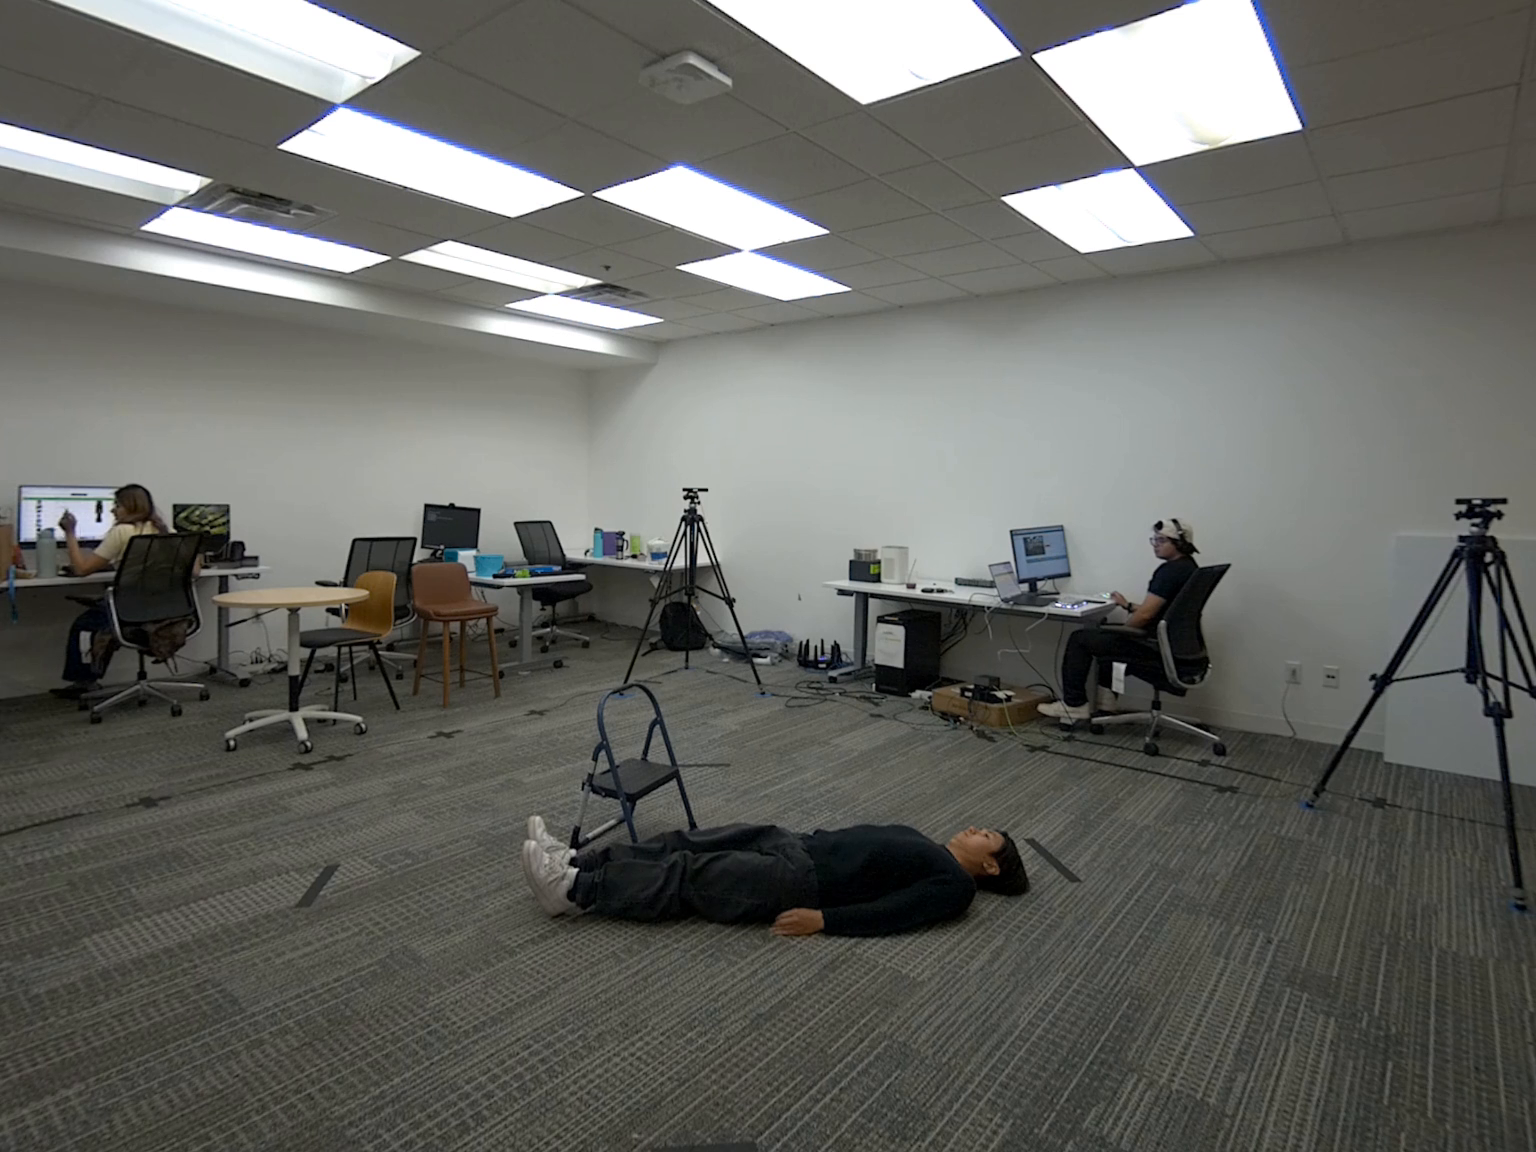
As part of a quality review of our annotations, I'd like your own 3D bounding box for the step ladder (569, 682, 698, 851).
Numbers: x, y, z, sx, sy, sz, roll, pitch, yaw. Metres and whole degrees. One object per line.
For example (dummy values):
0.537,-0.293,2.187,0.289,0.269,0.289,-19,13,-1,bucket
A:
-0.525,0.737,3.343,0.358,0.604,0.421,3,4,25,step ladder
